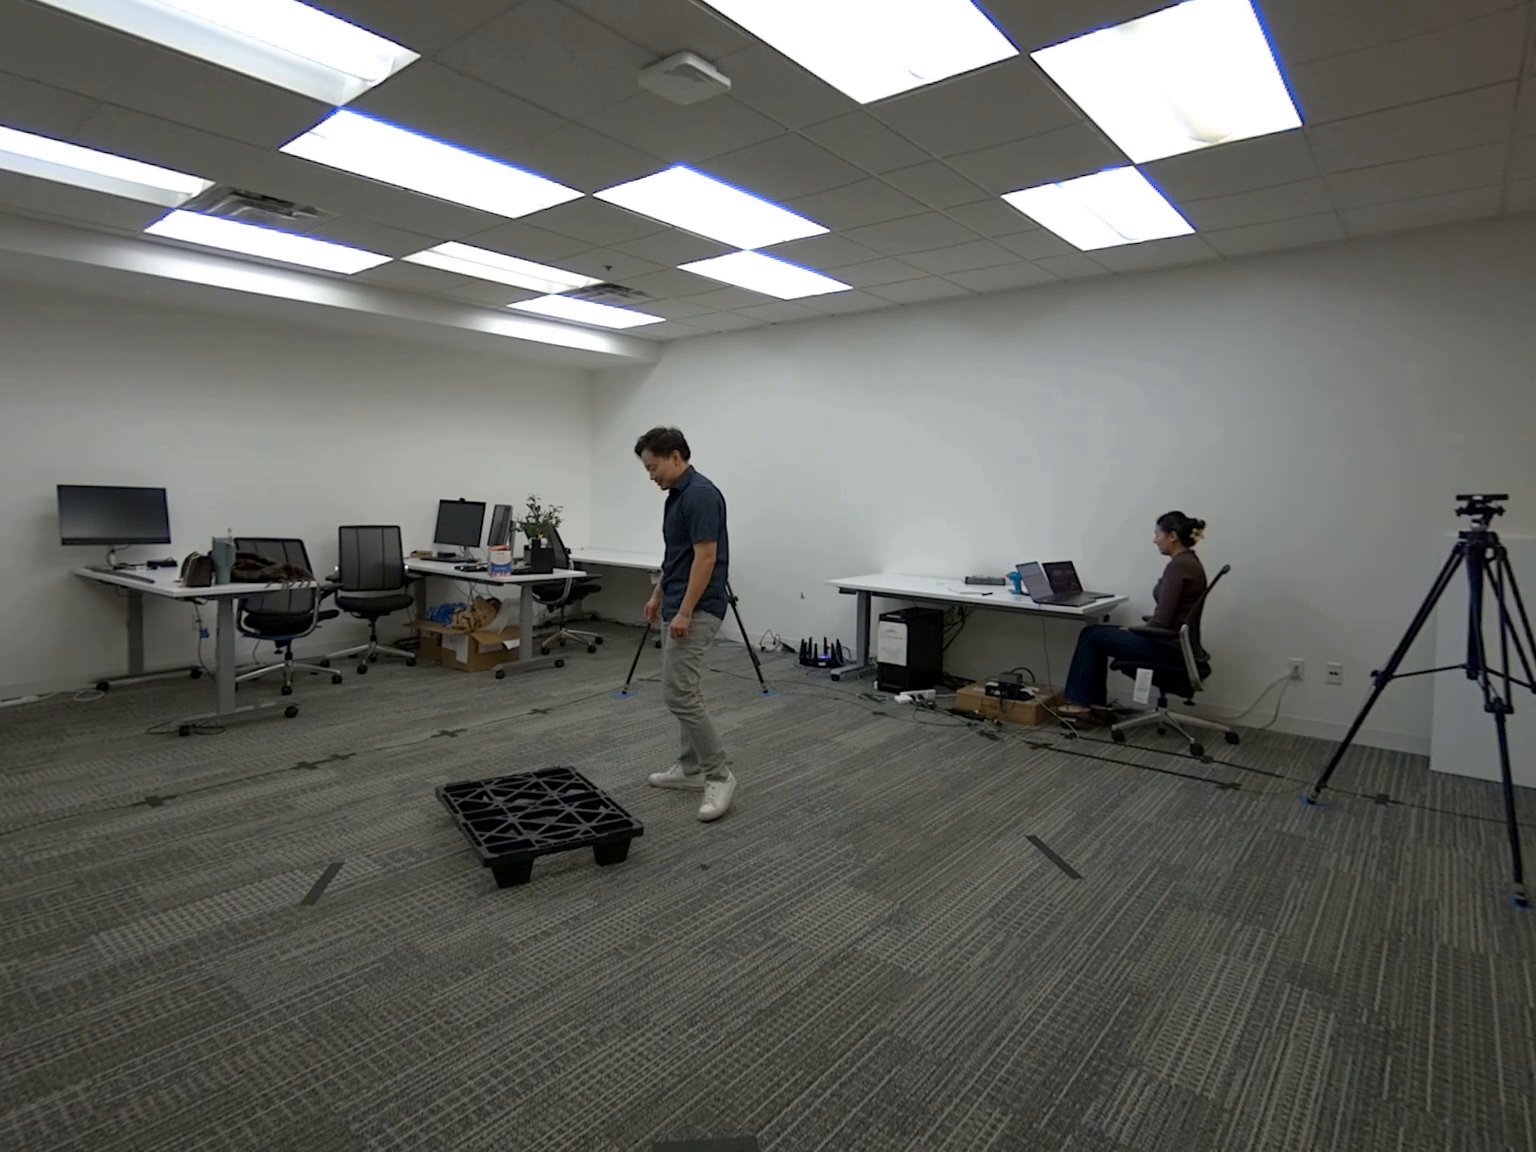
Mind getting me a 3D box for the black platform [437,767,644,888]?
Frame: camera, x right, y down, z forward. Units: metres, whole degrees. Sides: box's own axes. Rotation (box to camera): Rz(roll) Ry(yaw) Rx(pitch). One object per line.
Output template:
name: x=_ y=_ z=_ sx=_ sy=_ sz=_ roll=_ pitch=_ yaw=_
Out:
black platform: x=-0.937 y=0.966 z=3.346 sx=0.589 sy=0.143 sz=0.831 roll=-4 pitch=7 yaw=-32
